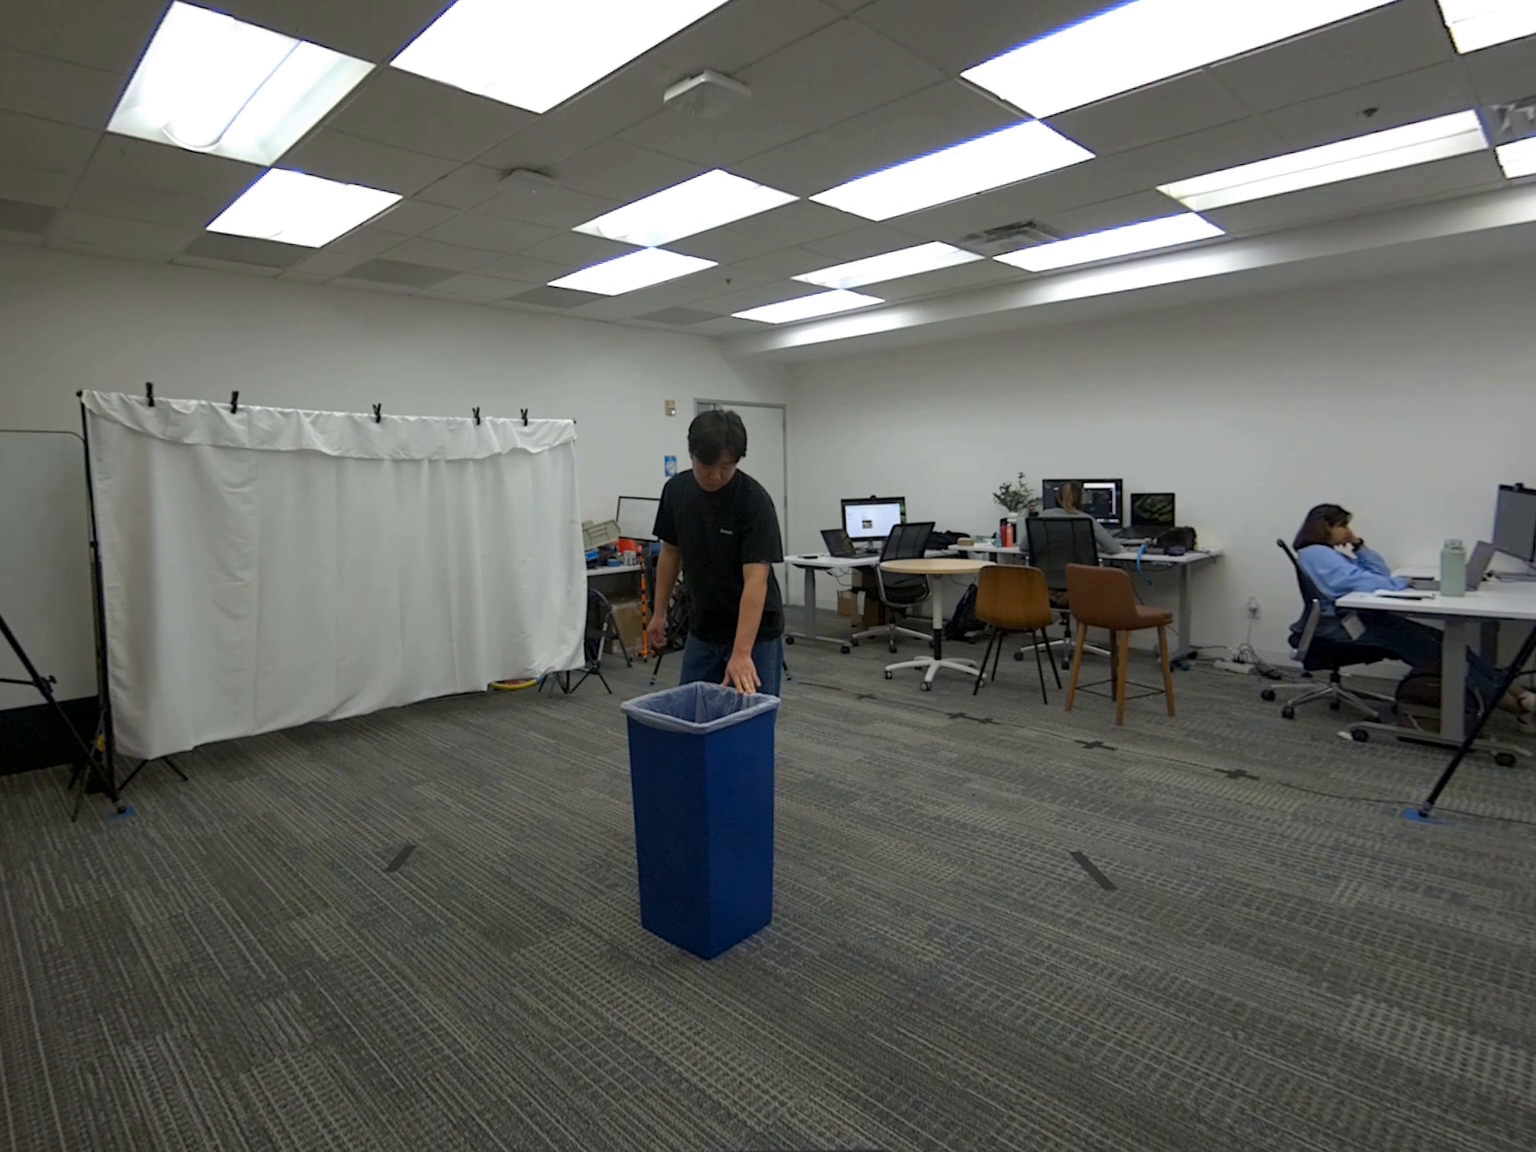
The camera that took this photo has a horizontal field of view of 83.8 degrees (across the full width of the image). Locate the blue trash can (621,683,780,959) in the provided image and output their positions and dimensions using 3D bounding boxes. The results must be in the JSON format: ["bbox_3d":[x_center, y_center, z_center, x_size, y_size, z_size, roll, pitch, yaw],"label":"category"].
[{"bbox_3d":[-0.200,0.743,2.654,0.389,0.711,0.364,2,5,40],"label":"blue trash can"}]
